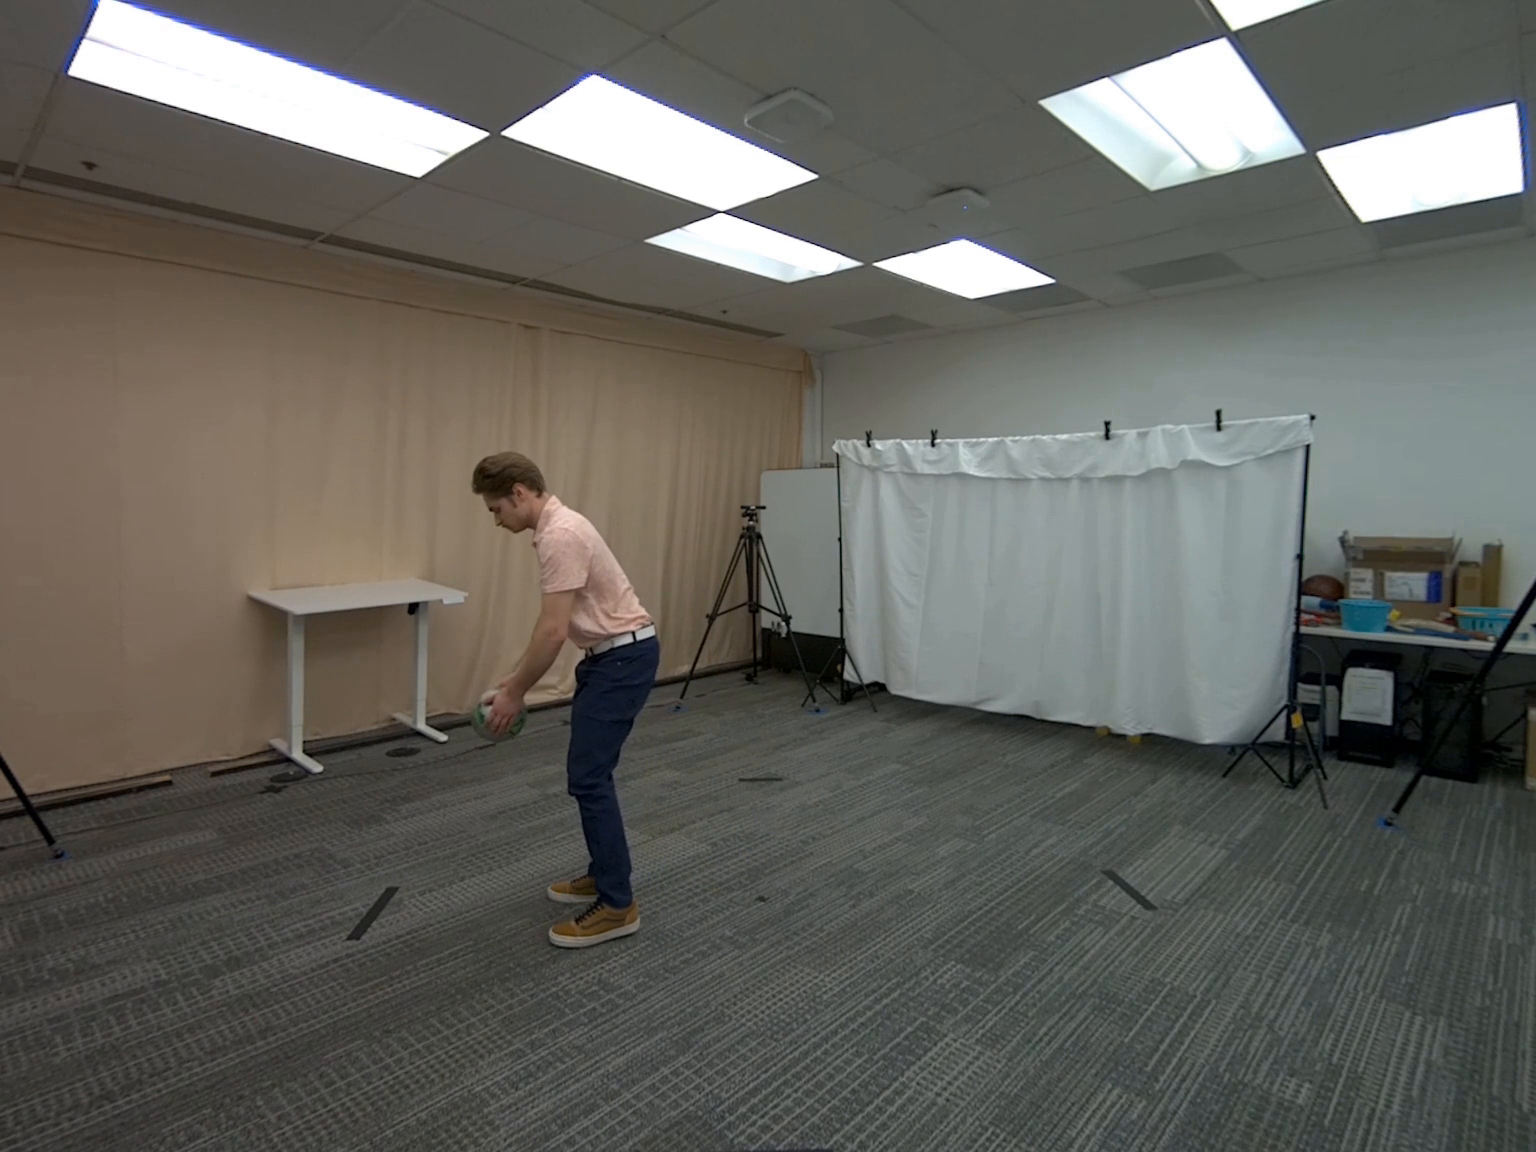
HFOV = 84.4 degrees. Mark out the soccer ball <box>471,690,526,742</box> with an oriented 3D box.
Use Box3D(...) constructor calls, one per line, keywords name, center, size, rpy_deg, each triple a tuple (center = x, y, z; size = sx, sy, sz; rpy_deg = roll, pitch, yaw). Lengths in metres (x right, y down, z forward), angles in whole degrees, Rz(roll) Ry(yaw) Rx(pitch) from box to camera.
Box3D(name="soccer ball", center=(-0.914, 0.480, 2.858), size=(0.187, 0.187, 0.188), rpy_deg=(0, 4, -2))
